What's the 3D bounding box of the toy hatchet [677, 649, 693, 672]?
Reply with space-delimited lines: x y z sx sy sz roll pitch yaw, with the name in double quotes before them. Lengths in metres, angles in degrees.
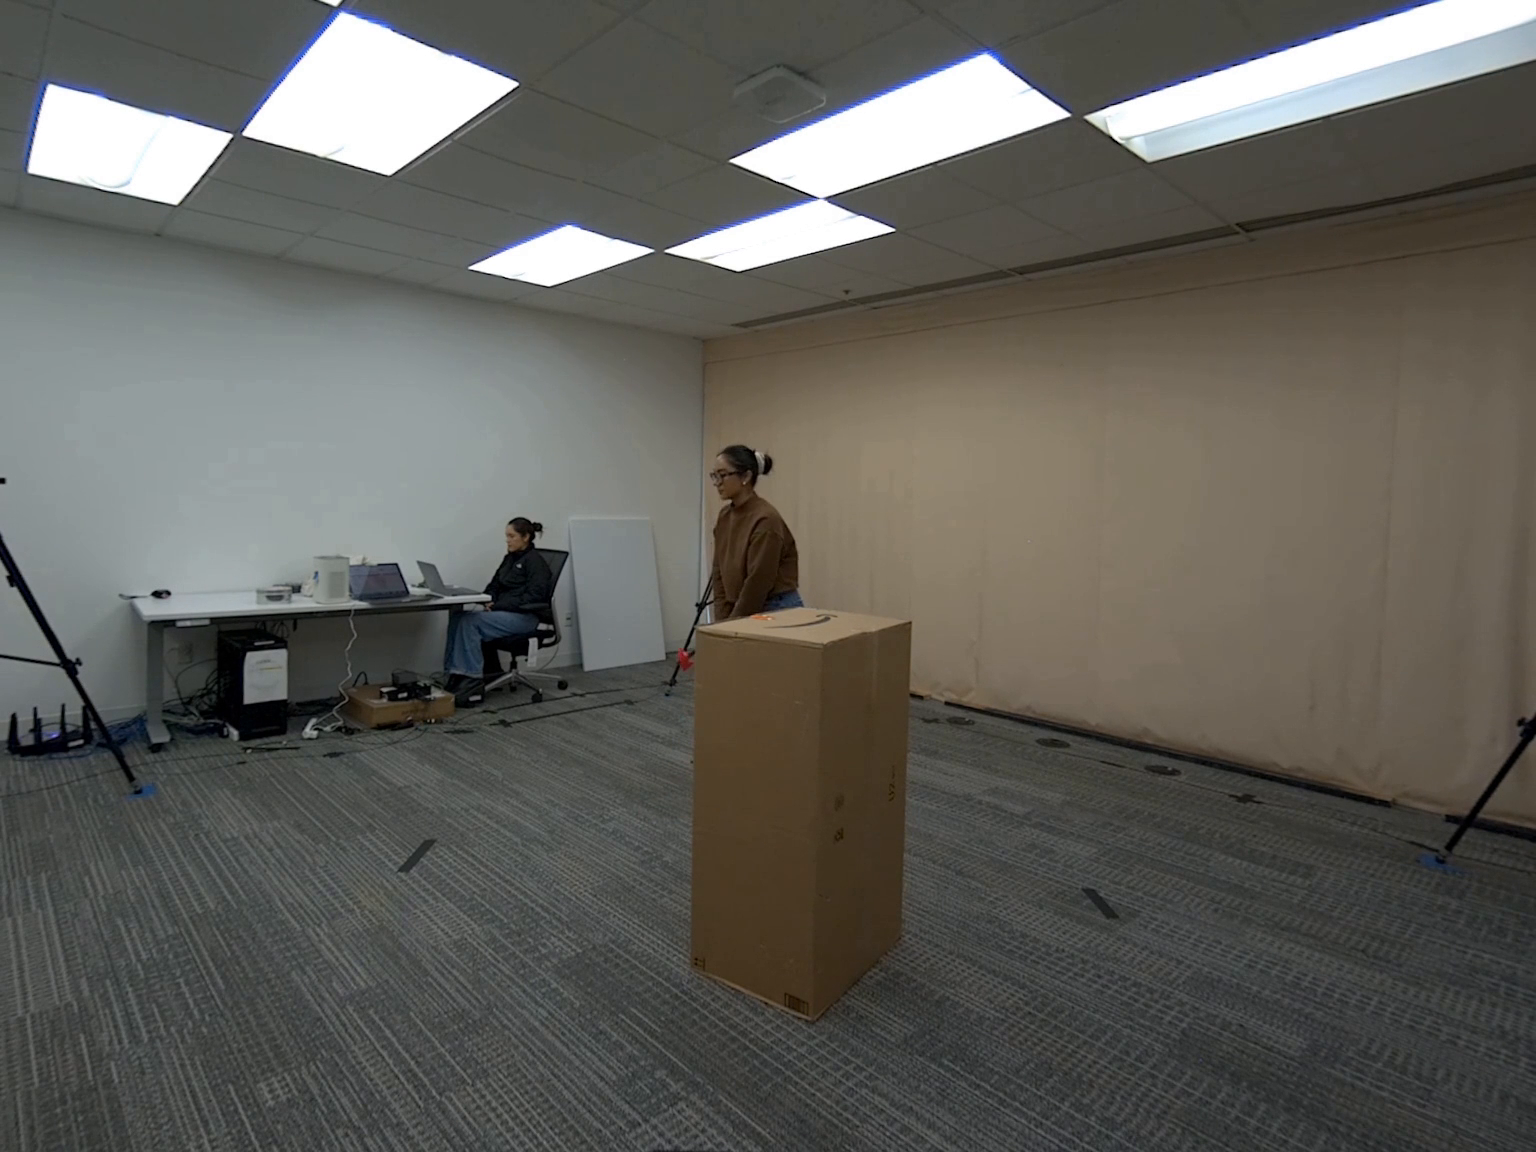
"toy hatchet" -0.303 0.351 3.687 0.265 0.129 0.030 -9 30 -39
